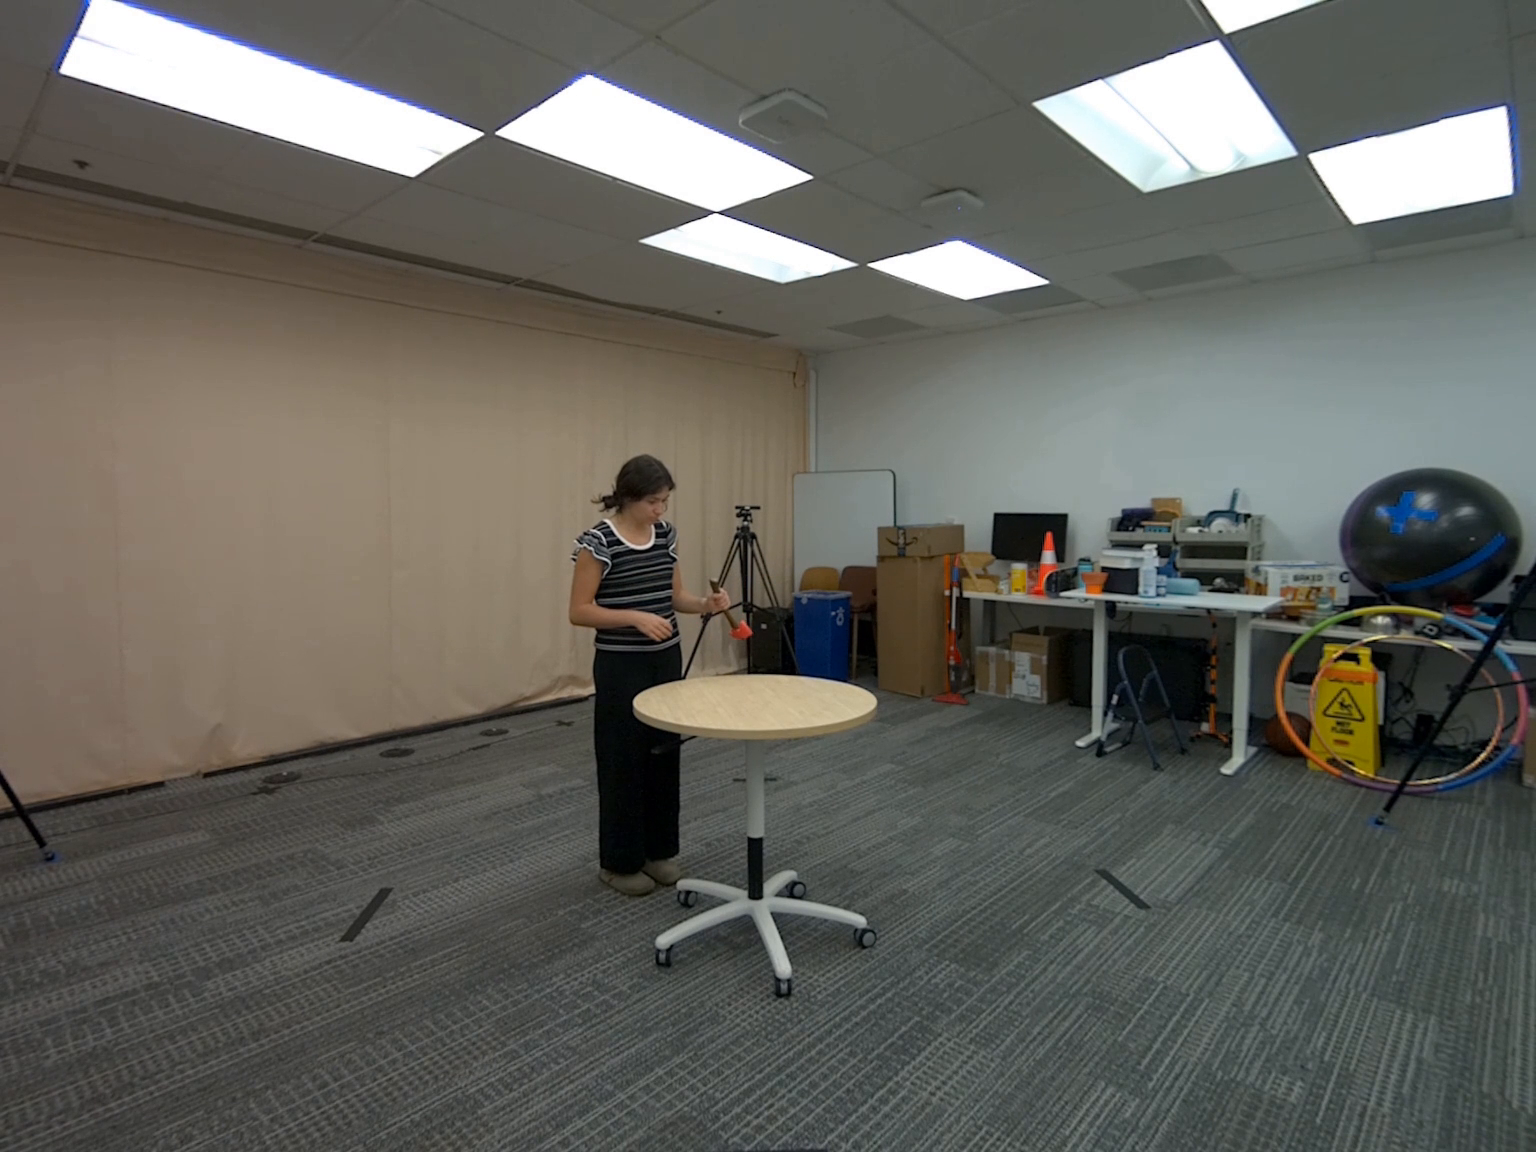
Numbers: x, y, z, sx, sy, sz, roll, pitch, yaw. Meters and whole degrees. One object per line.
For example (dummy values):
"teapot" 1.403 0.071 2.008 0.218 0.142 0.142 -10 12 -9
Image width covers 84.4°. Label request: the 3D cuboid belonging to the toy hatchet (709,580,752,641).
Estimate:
"toy hatchet" -0.128 0.131 3.046 0.136 0.263 0.029 15 48 43
